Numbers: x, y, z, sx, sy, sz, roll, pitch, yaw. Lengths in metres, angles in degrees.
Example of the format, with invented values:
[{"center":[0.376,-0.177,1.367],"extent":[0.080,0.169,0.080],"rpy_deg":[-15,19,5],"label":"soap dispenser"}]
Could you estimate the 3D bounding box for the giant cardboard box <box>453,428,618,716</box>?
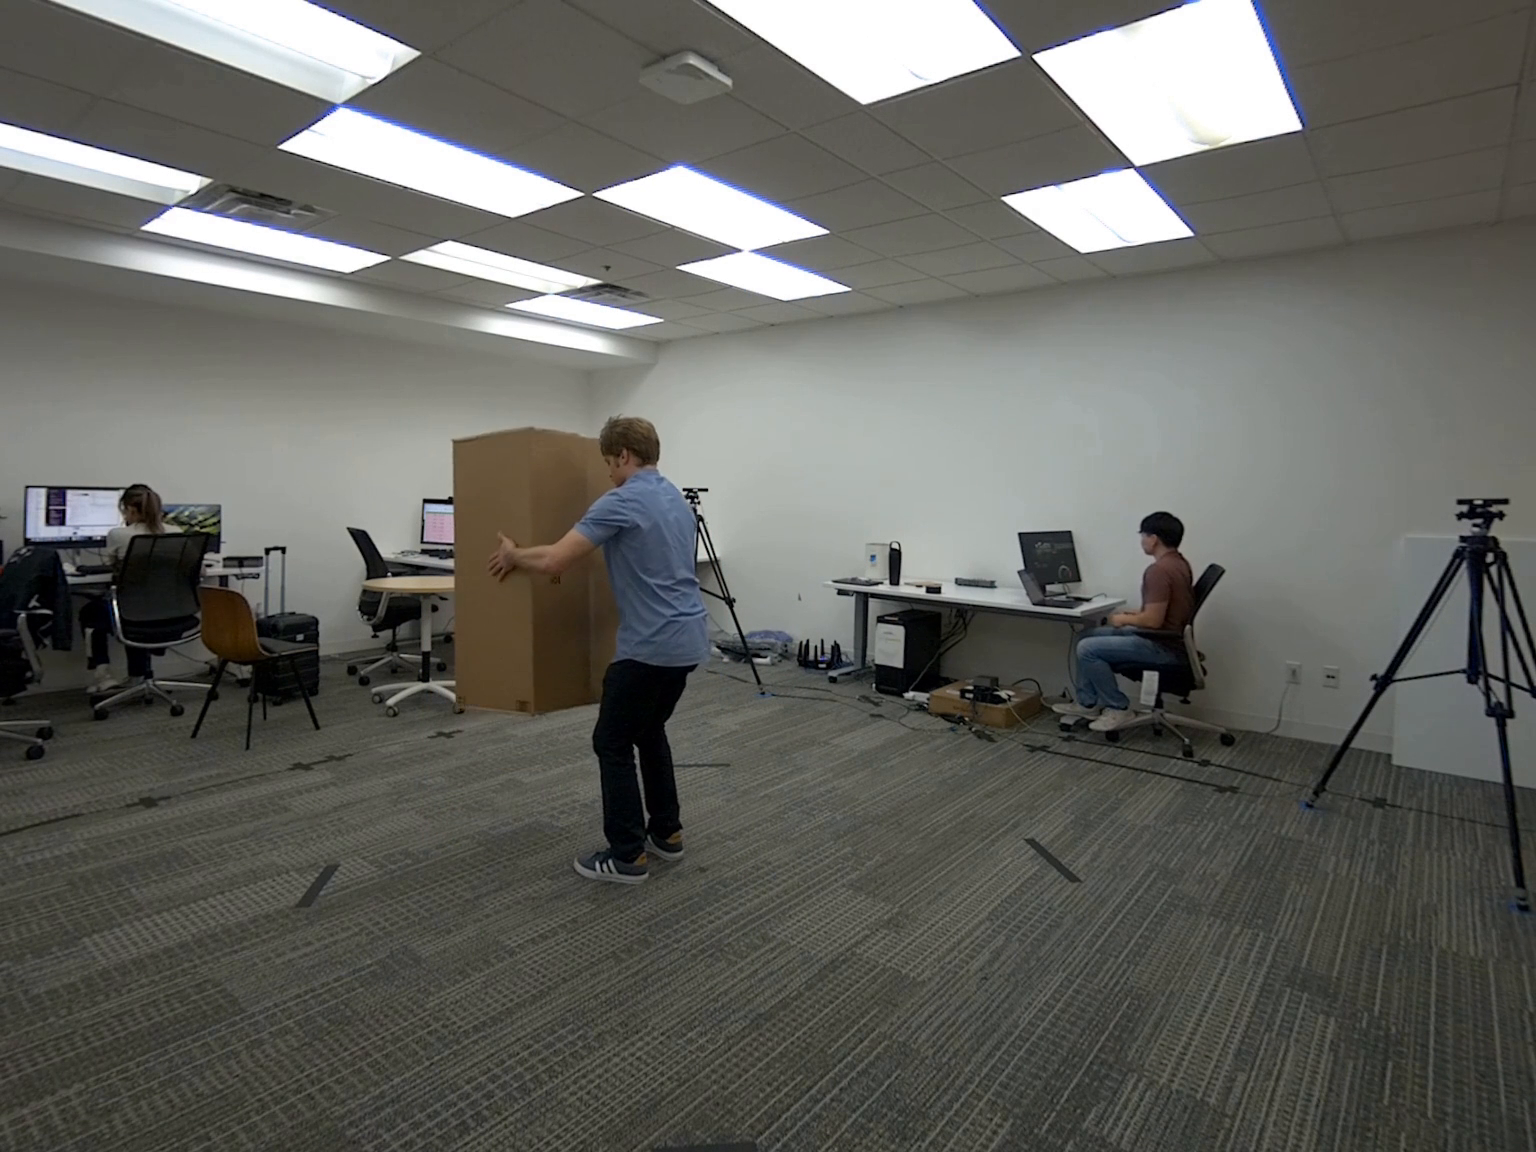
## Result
[{"center":[-0.880,-0.021,3.342],"extent":[0.438,1.028,0.560],"rpy_deg":[-3,-2,33],"label":"giant cardboard box"}]
